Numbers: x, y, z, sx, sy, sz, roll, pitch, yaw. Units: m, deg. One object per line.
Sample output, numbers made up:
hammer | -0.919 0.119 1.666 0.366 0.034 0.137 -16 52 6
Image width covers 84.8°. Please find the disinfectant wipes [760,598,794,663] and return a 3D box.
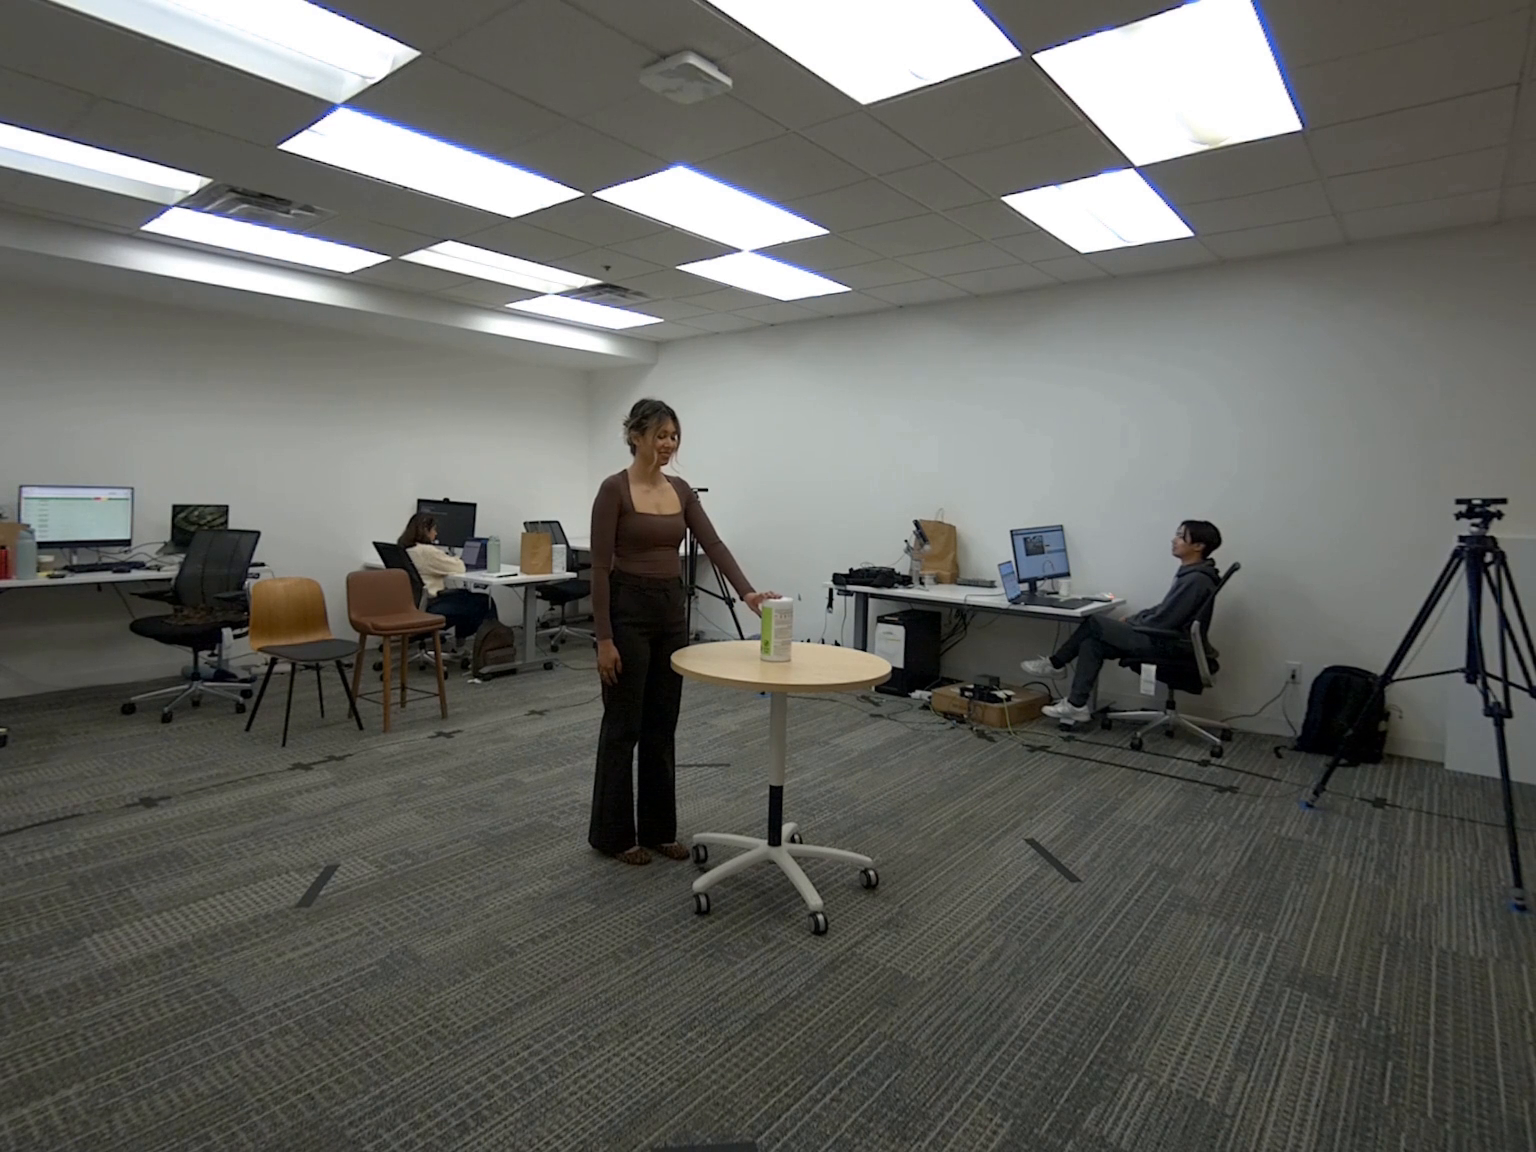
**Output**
disinfectant wipes | 0.024 0.183 2.973 0.118 0.217 0.118 0 2 -2
